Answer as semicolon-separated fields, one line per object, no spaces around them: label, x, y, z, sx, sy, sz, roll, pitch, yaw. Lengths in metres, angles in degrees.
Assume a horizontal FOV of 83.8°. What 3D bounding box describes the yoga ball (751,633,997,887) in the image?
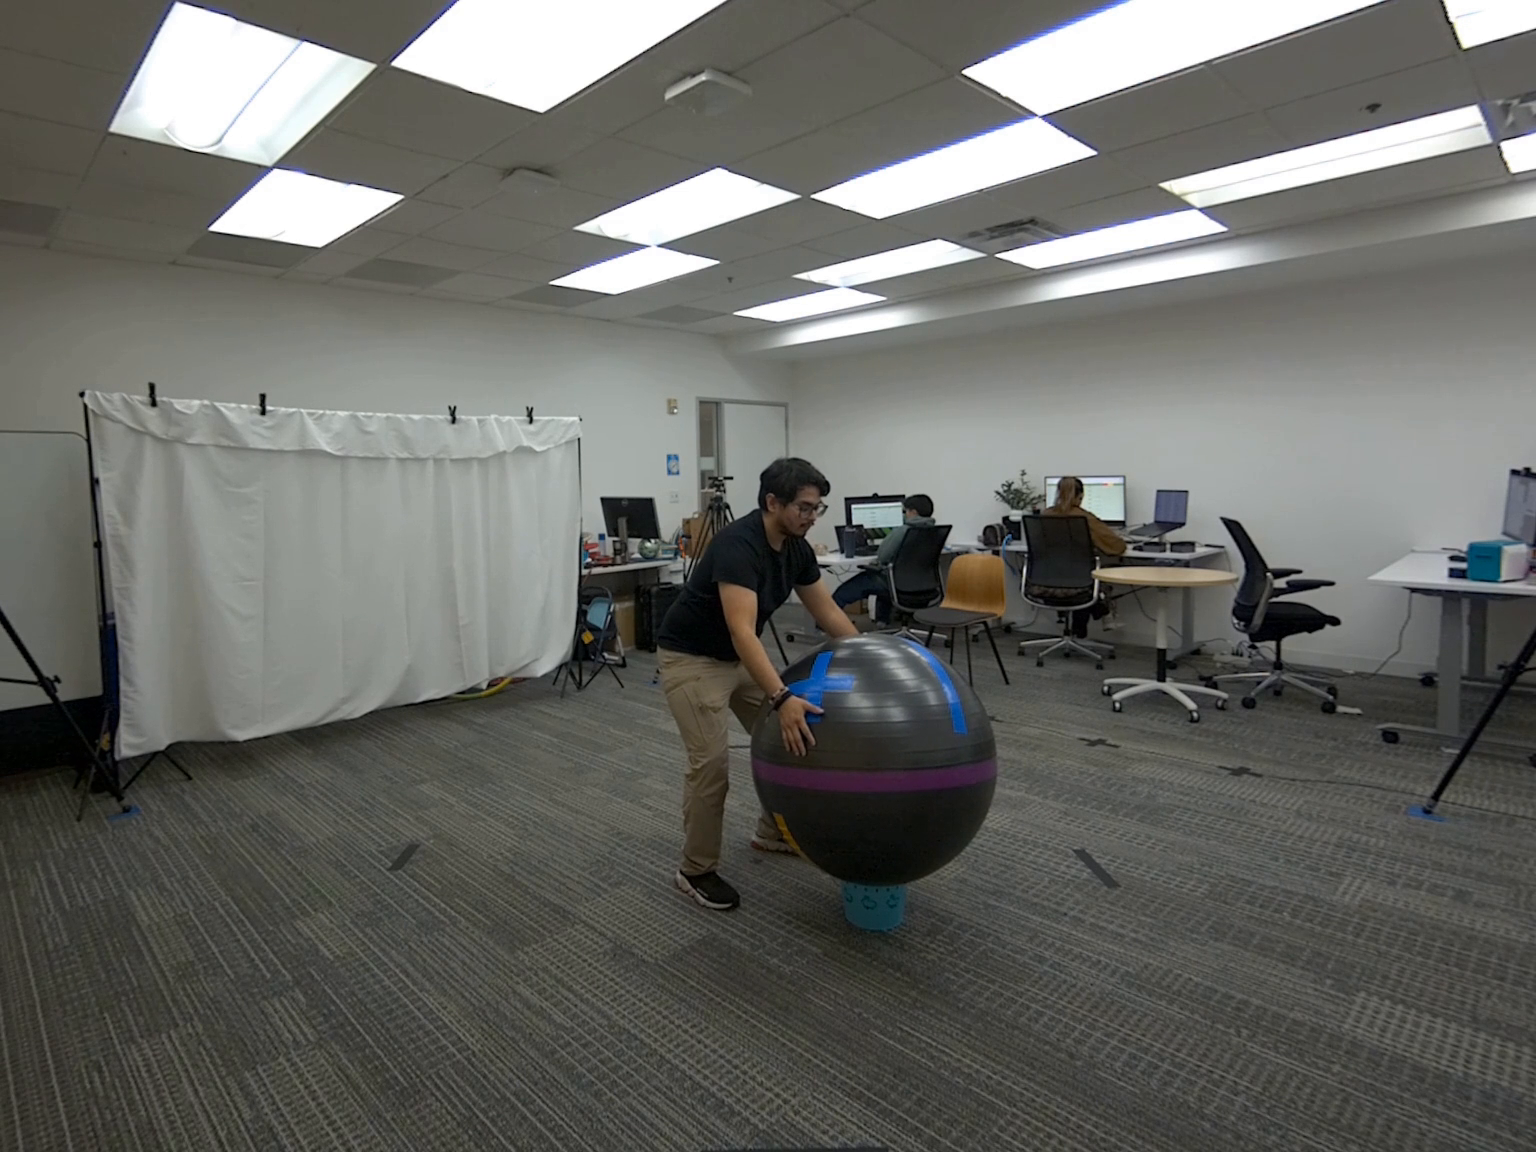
yoga ball;0.328;0.565;2.682;0.757;0.755;0.762;-1;5;-2
